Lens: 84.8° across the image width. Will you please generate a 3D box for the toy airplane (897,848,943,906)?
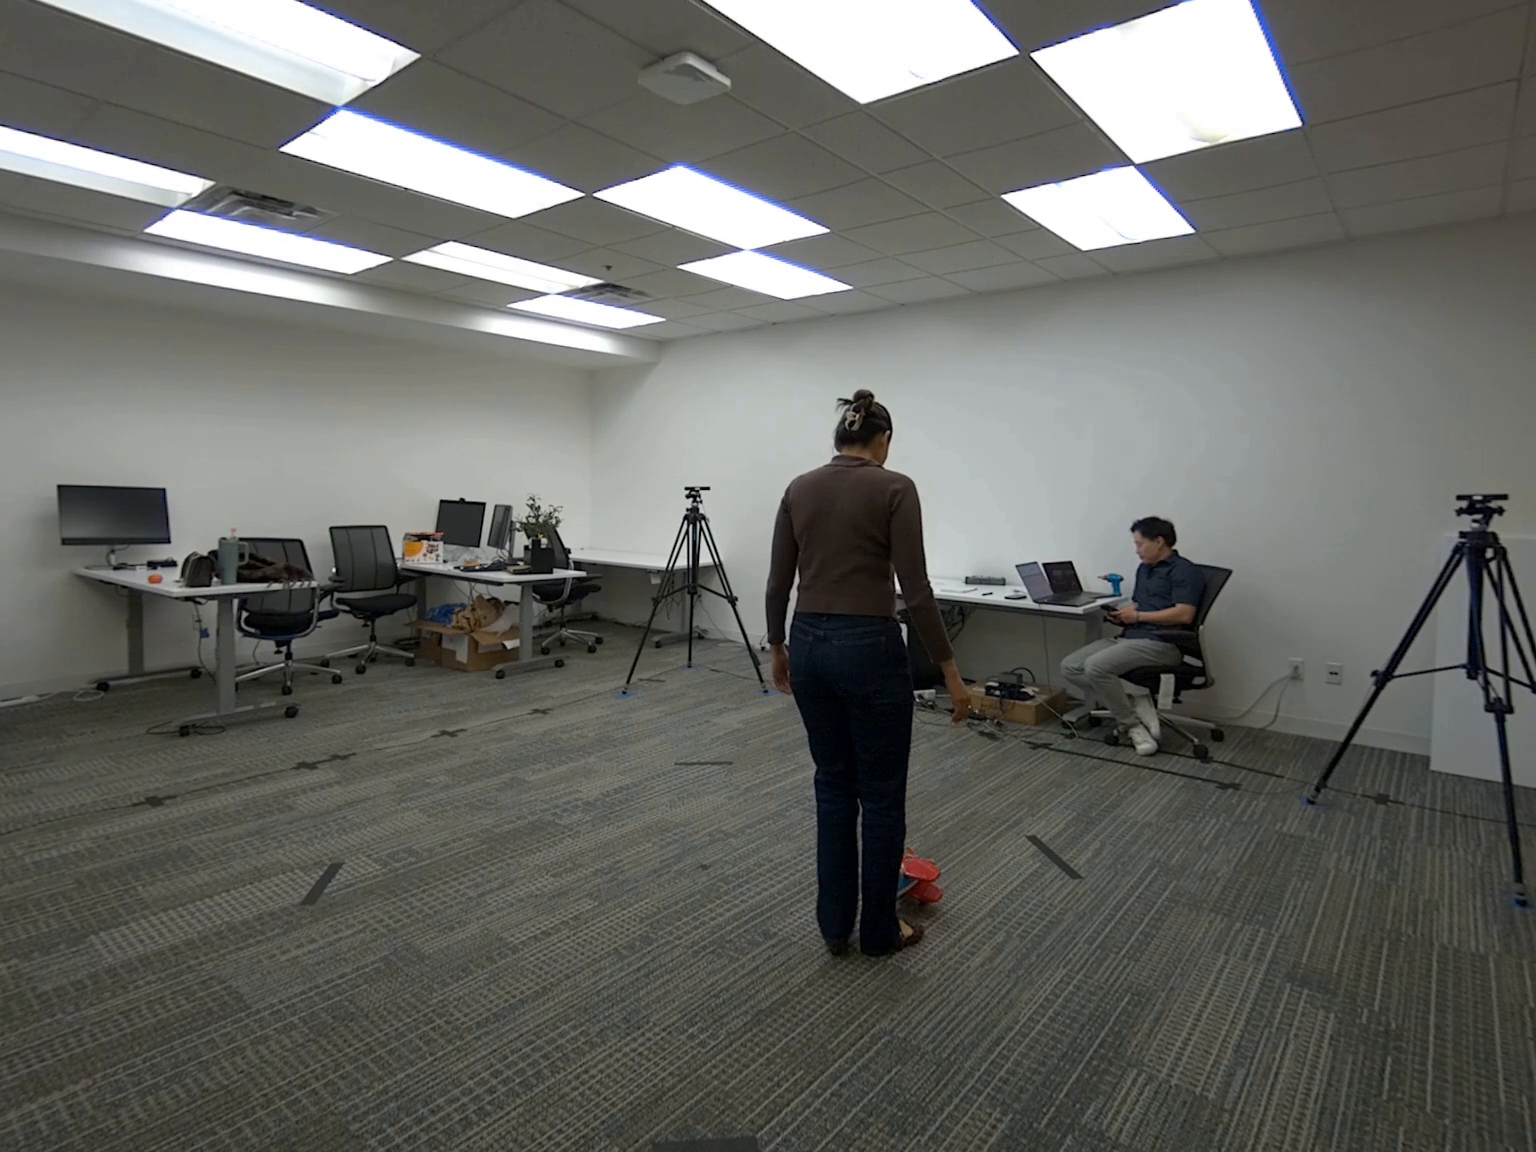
[{"bbox_3d":[0.448,1.026,2.840,0.256,0.156,0.255,3,3,18],"label":"toy airplane"}]
